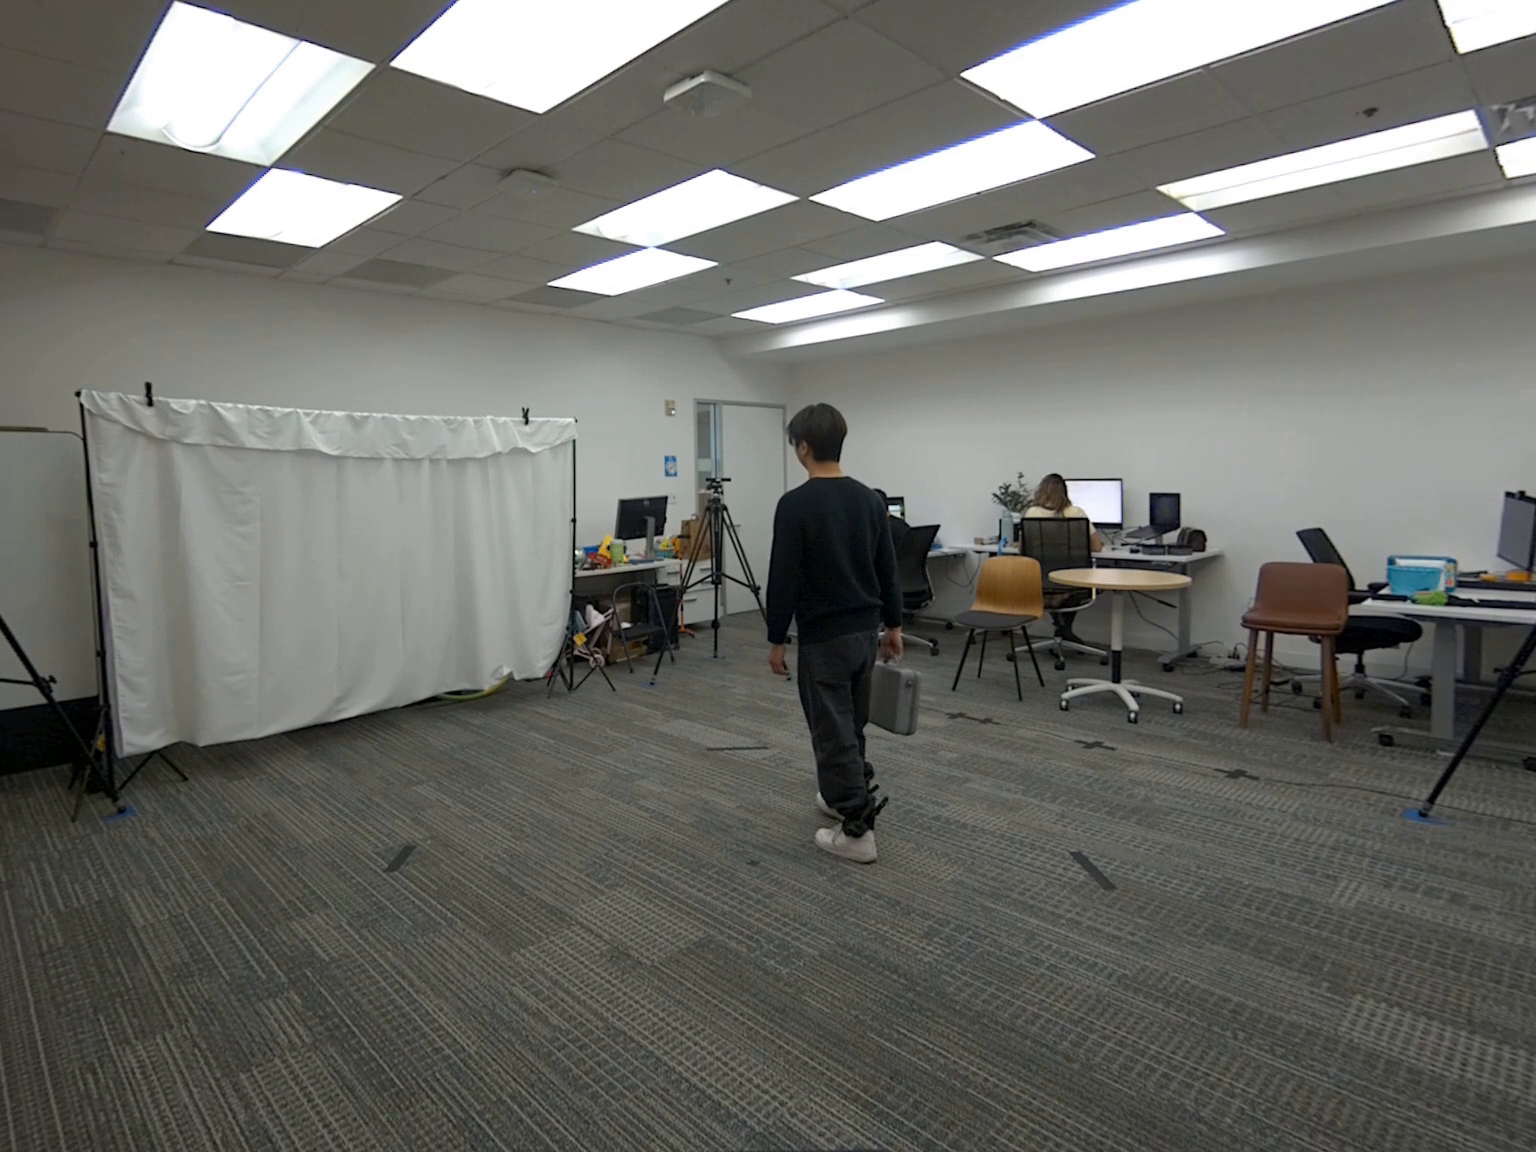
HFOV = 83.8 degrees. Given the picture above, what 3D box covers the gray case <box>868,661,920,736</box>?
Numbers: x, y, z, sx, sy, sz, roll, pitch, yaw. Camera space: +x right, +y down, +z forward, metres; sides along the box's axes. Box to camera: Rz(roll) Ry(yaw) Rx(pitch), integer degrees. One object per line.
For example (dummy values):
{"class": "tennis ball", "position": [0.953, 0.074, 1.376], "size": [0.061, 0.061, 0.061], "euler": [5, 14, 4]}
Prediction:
{"class": "gray case", "position": [0.486, 0.471, 3.370], "size": [0.102, 0.261, 0.262], "euler": [7, 0, -21]}
